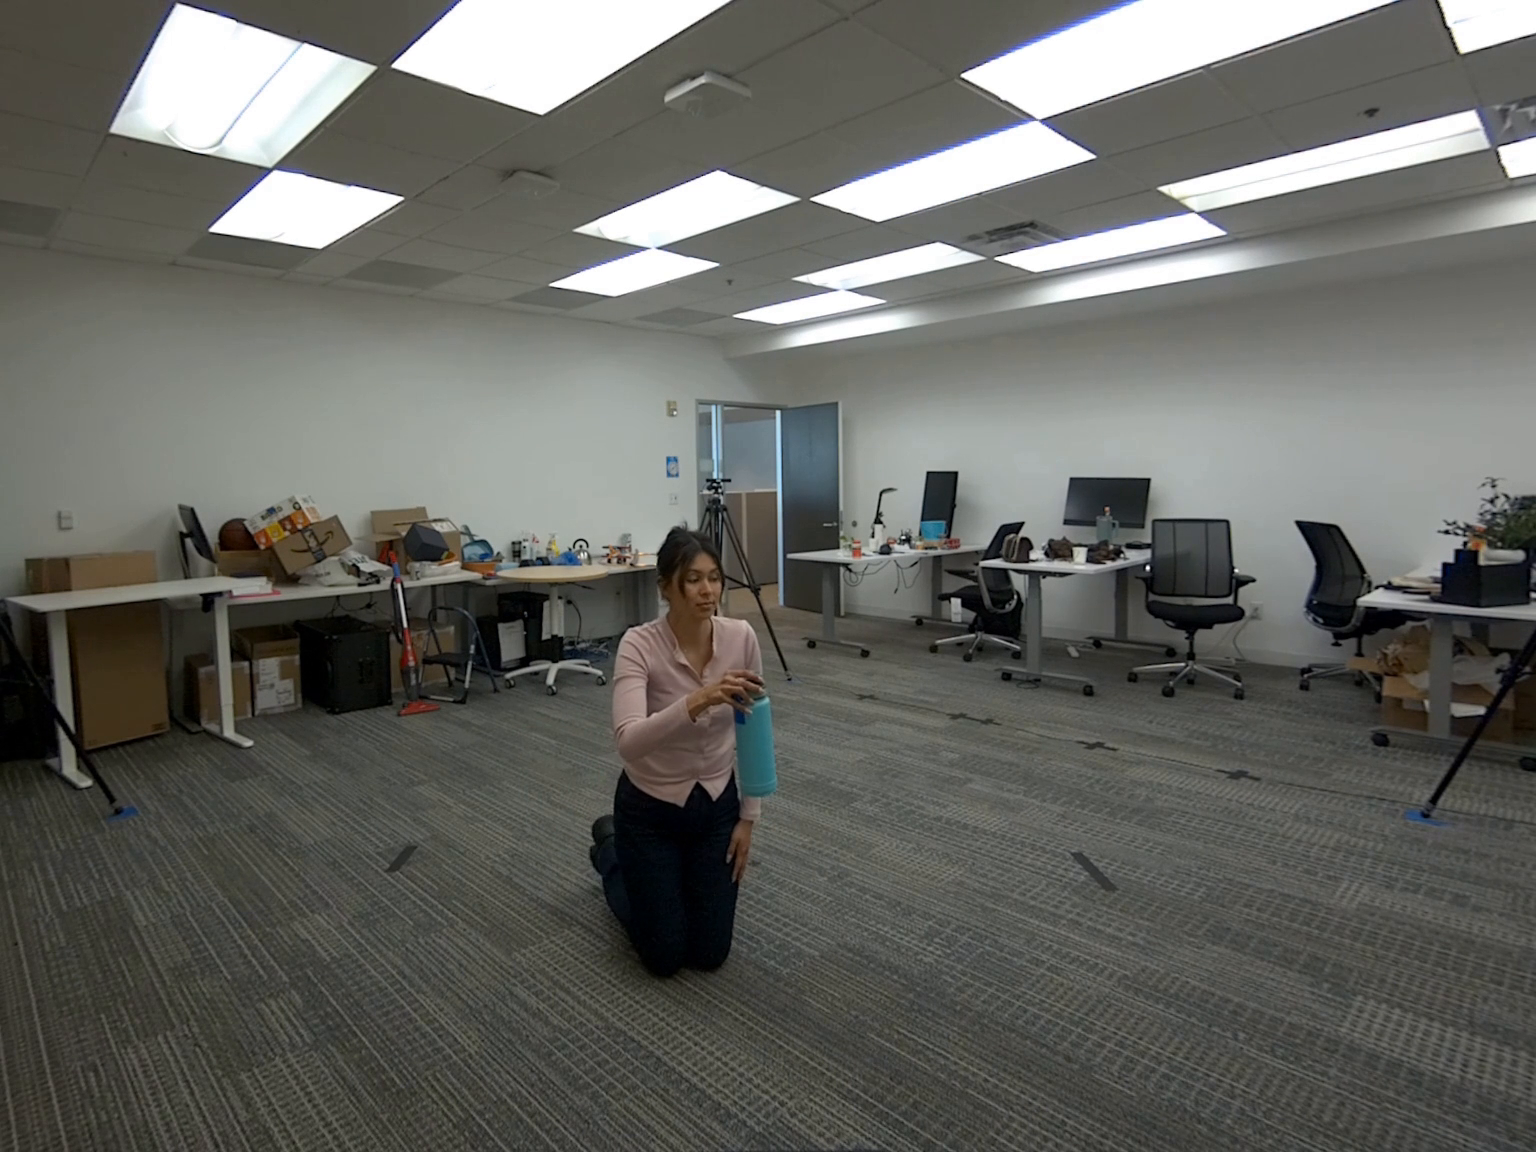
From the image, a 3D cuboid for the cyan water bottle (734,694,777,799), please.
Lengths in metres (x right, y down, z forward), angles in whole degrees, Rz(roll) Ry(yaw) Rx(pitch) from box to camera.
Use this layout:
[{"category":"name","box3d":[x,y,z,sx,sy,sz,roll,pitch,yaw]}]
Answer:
[{"category":"cyan water bottle","box3d":[-0.046,0.378,2.021,0.092,0.281,0.093,-4,7,-1]}]
